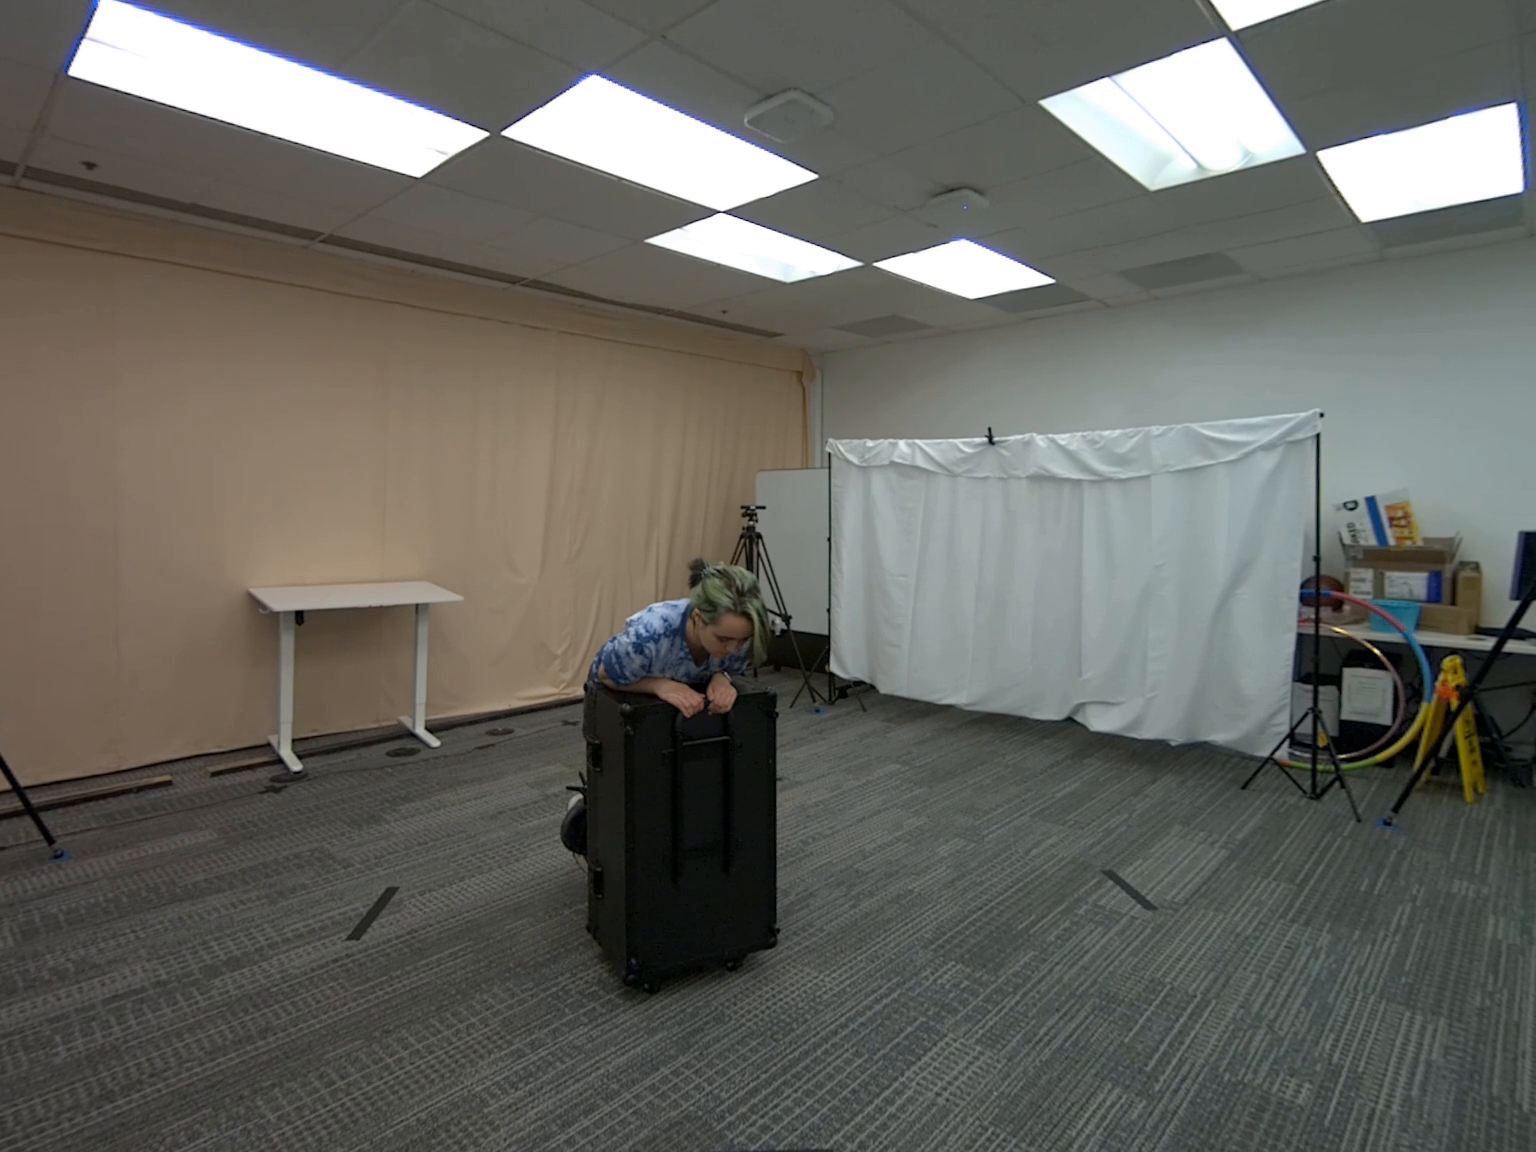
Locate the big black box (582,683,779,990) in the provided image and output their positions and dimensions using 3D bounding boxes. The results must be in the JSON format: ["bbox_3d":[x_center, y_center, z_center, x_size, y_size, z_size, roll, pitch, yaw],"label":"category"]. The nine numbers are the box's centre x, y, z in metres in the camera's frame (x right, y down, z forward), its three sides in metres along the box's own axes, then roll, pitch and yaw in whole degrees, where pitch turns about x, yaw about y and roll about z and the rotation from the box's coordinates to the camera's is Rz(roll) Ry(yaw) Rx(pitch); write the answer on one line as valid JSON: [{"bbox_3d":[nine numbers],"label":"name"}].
[{"bbox_3d":[-0.260,0.709,2.542,0.508,0.859,0.407,-3,5,-28],"label":"big black box"}]
